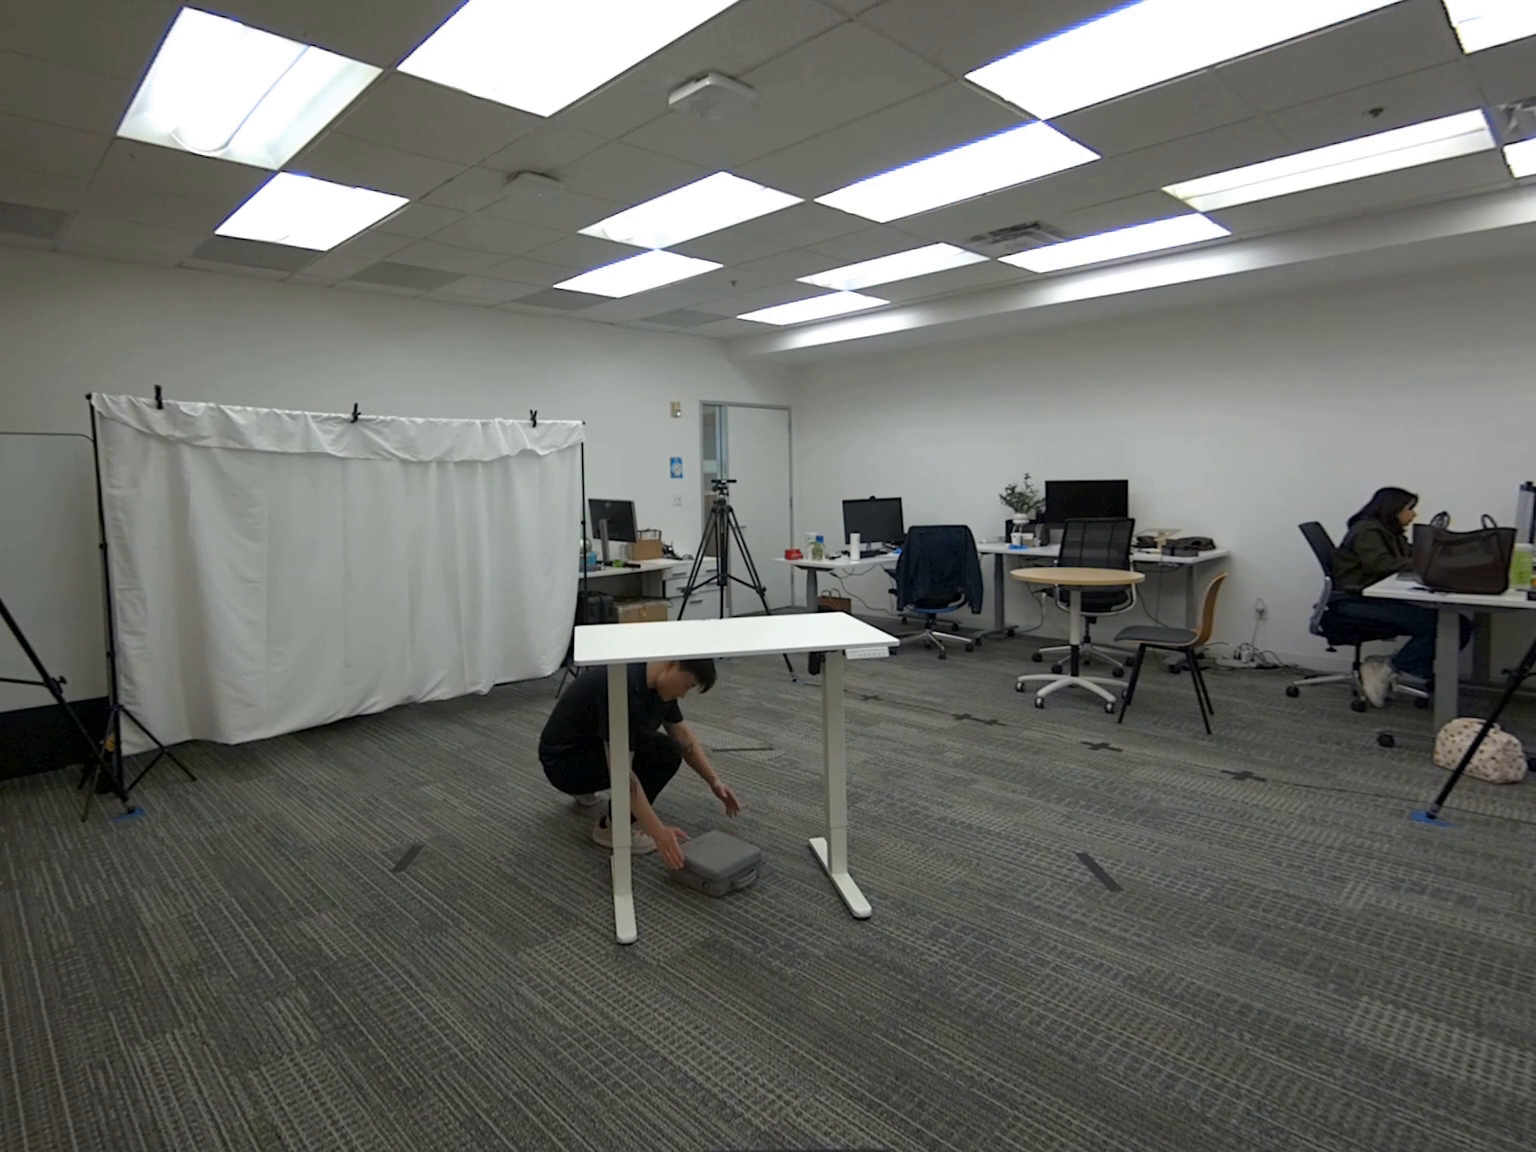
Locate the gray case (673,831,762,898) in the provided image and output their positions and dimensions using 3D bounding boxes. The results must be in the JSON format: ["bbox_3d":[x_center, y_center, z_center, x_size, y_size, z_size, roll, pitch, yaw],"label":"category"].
[{"bbox_3d":[-0.177,1.002,3.004,0.269,0.104,0.250,6,8,43],"label":"gray case"}]
